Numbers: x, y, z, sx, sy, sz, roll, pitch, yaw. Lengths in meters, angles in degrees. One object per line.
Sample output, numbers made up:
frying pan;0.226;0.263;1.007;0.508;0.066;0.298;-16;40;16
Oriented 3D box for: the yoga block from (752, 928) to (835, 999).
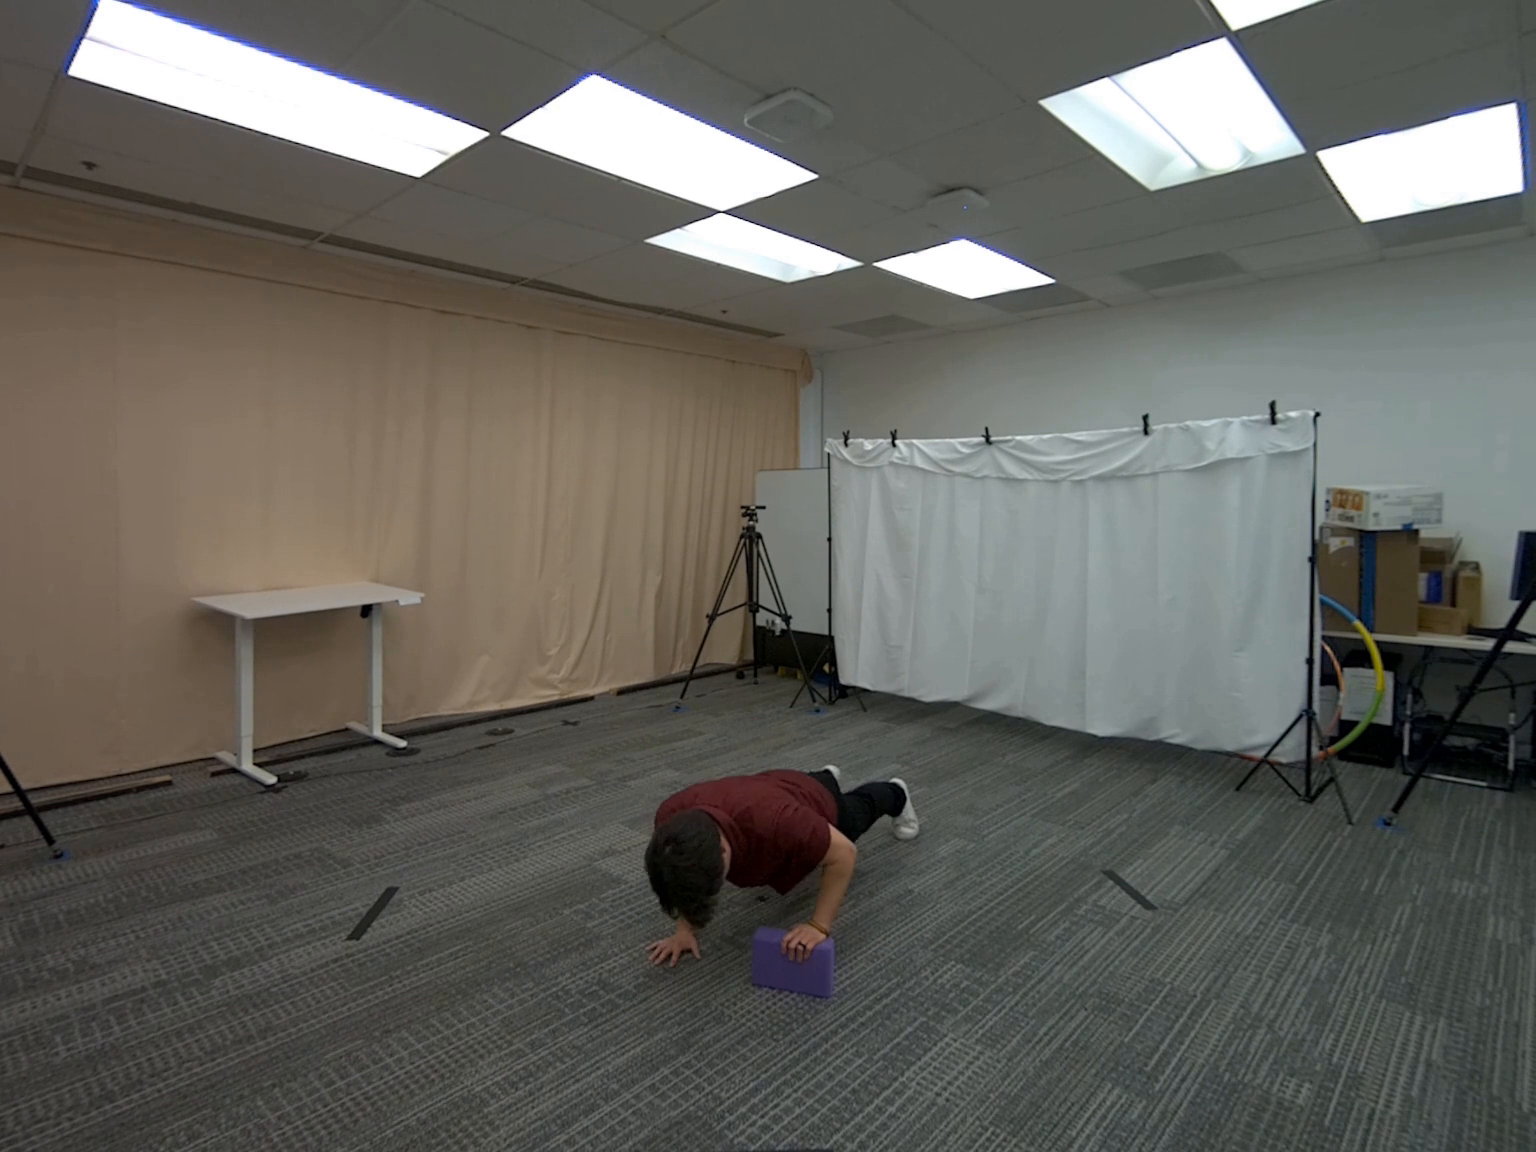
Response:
yoga block;0.075;1.104;2.446;0.233;0.149;0.075;1;2;17
